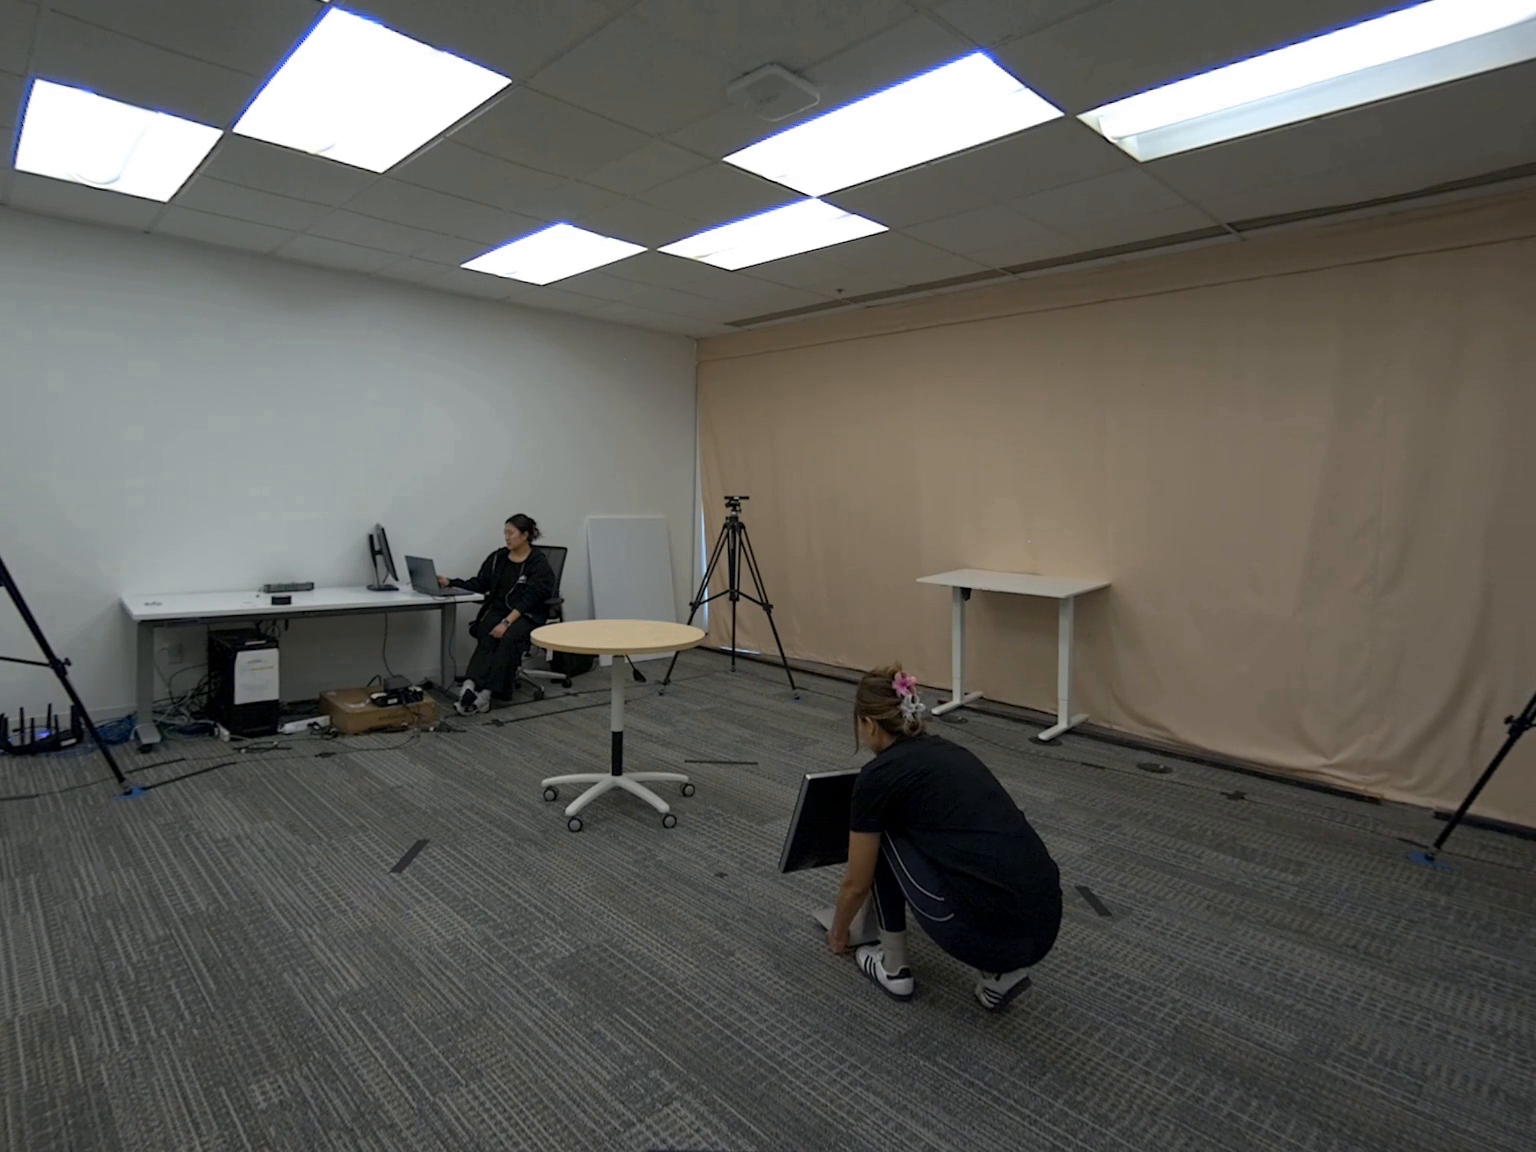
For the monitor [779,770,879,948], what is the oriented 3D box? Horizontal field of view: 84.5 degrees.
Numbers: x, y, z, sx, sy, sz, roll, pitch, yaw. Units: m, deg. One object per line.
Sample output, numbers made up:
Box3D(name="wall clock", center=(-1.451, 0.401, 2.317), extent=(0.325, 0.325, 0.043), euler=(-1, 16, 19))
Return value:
Box3D(name="monitor", center=(0.317, 0.869, 2.695), extent=(0.528, 0.520, 0.192), euler=(1, 9, -30))
